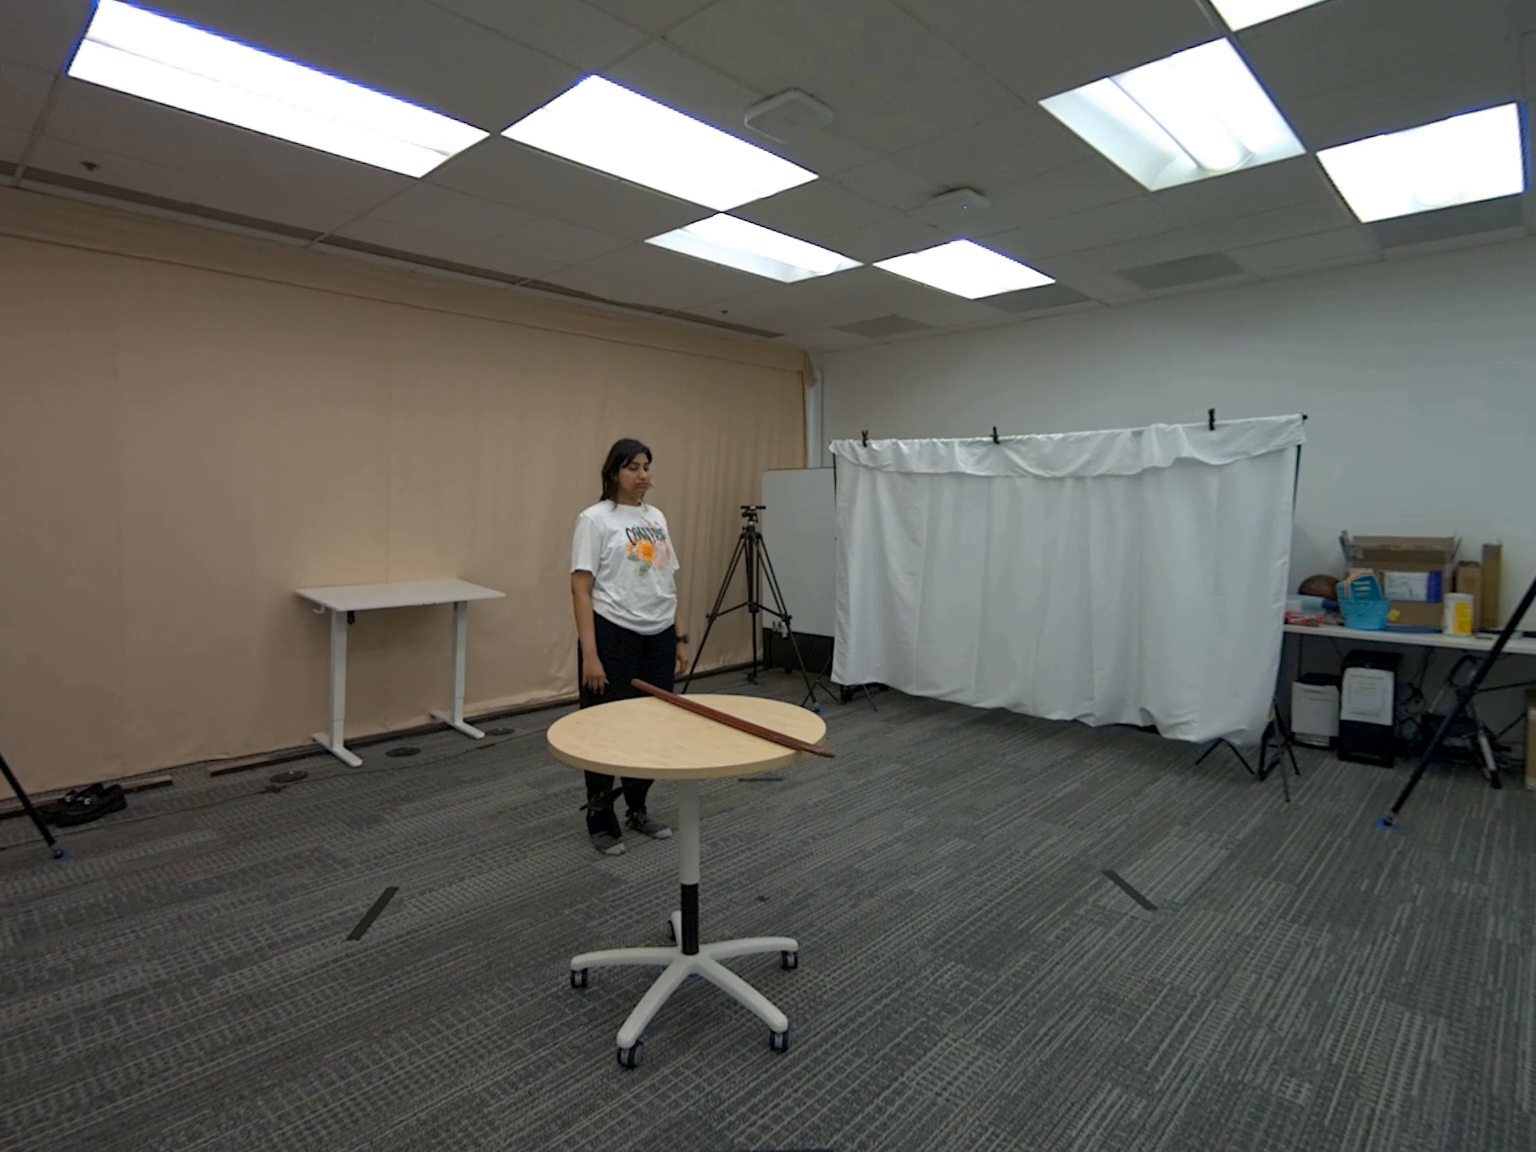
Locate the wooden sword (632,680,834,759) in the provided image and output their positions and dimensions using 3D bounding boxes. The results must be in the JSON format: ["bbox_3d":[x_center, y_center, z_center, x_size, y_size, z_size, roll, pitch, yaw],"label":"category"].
[{"bbox_3d":[-0.141,0.392,2.453,0.050,0.024,1.056,-1,3,-33],"label":"wooden sword"}]
